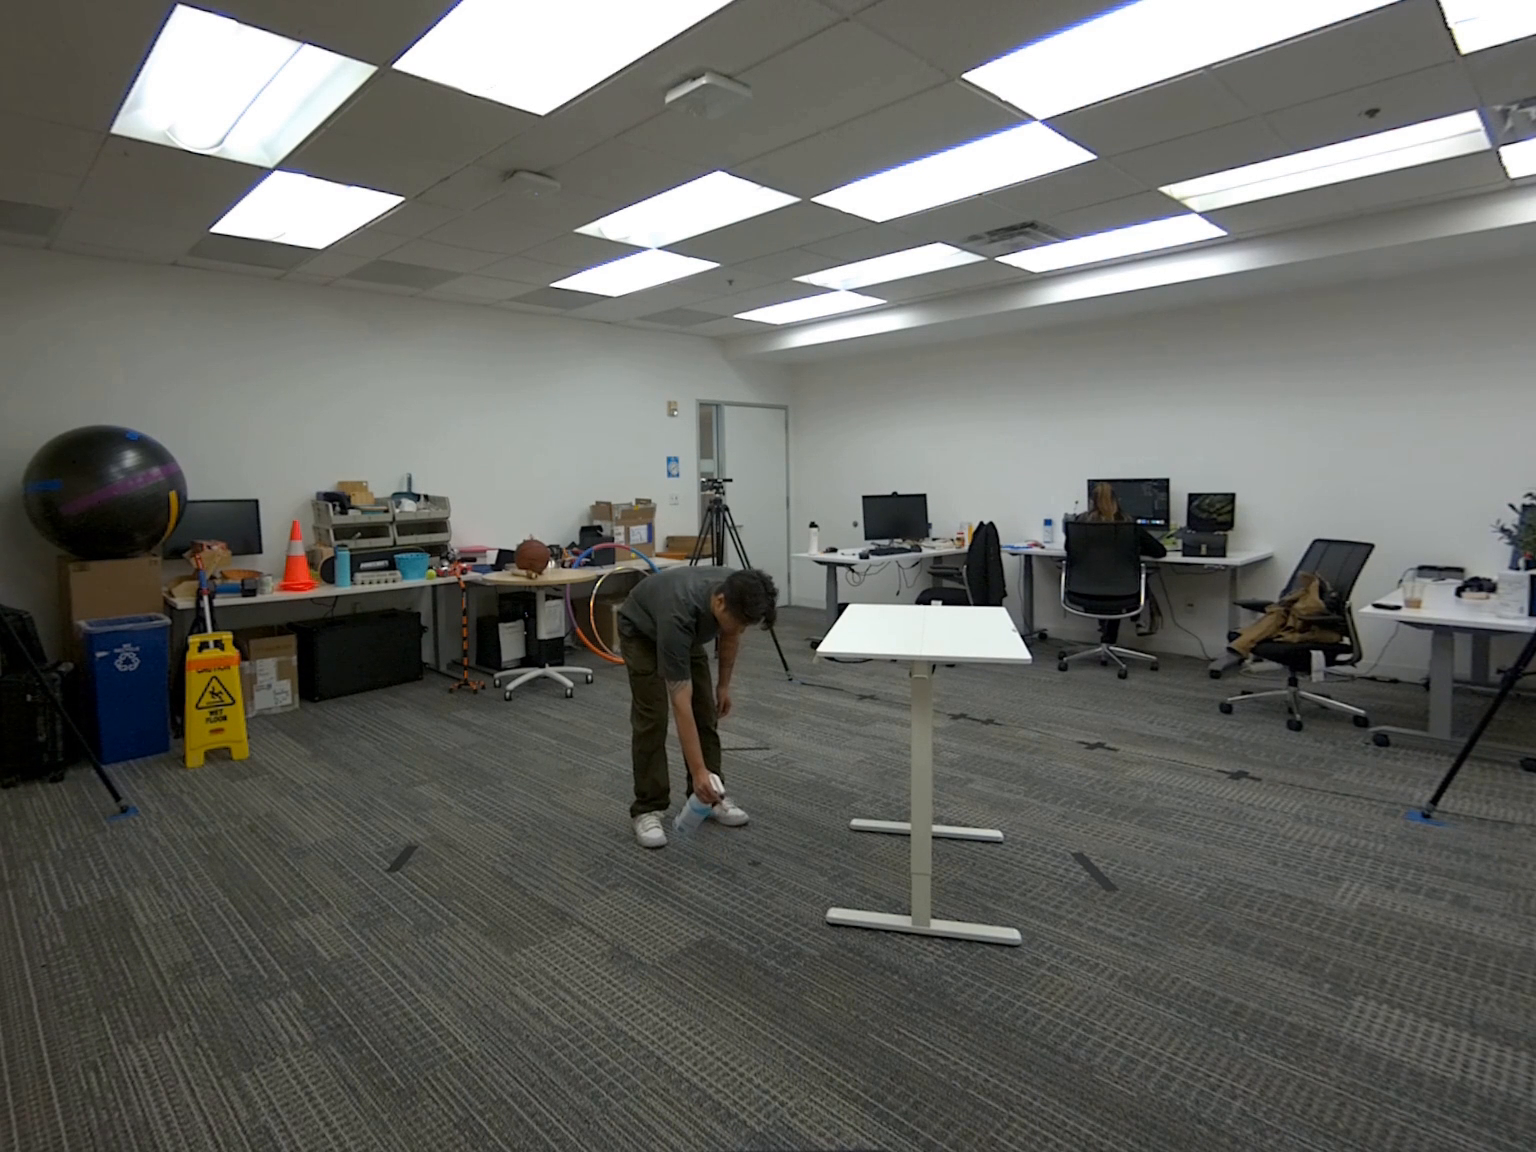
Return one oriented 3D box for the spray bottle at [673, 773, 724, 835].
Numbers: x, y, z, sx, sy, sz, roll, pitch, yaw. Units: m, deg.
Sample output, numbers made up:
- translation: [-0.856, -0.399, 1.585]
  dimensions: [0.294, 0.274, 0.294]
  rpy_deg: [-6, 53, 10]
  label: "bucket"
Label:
- translation: [-0.245, 0.825, 3.067]
  dimensions: [0.085, 0.295, 0.092]
  rpy_deg: [24, 31, -16]
  label: "spray bottle"
